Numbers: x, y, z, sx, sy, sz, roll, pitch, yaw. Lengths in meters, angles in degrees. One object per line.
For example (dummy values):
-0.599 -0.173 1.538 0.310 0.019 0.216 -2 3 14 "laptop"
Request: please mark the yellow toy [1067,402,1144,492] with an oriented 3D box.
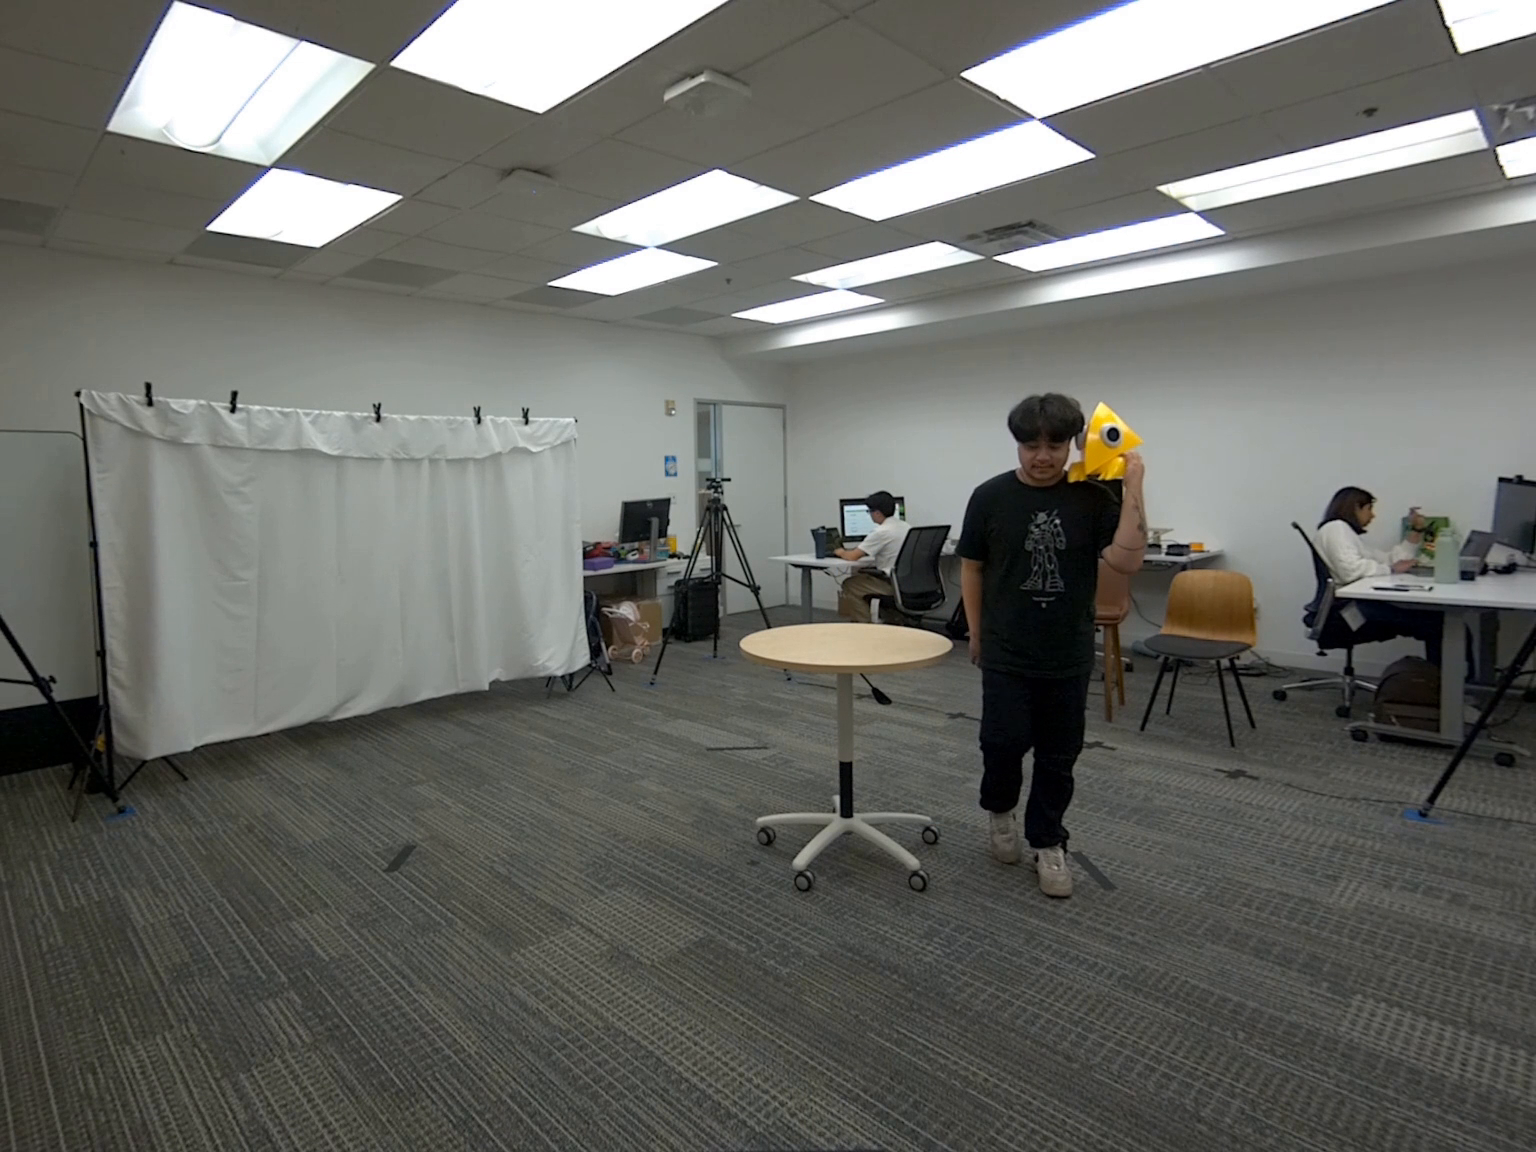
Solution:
1.072 -0.443 2.787 0.190 0.228 0.210 -20 12 -36 "yellow toy"
